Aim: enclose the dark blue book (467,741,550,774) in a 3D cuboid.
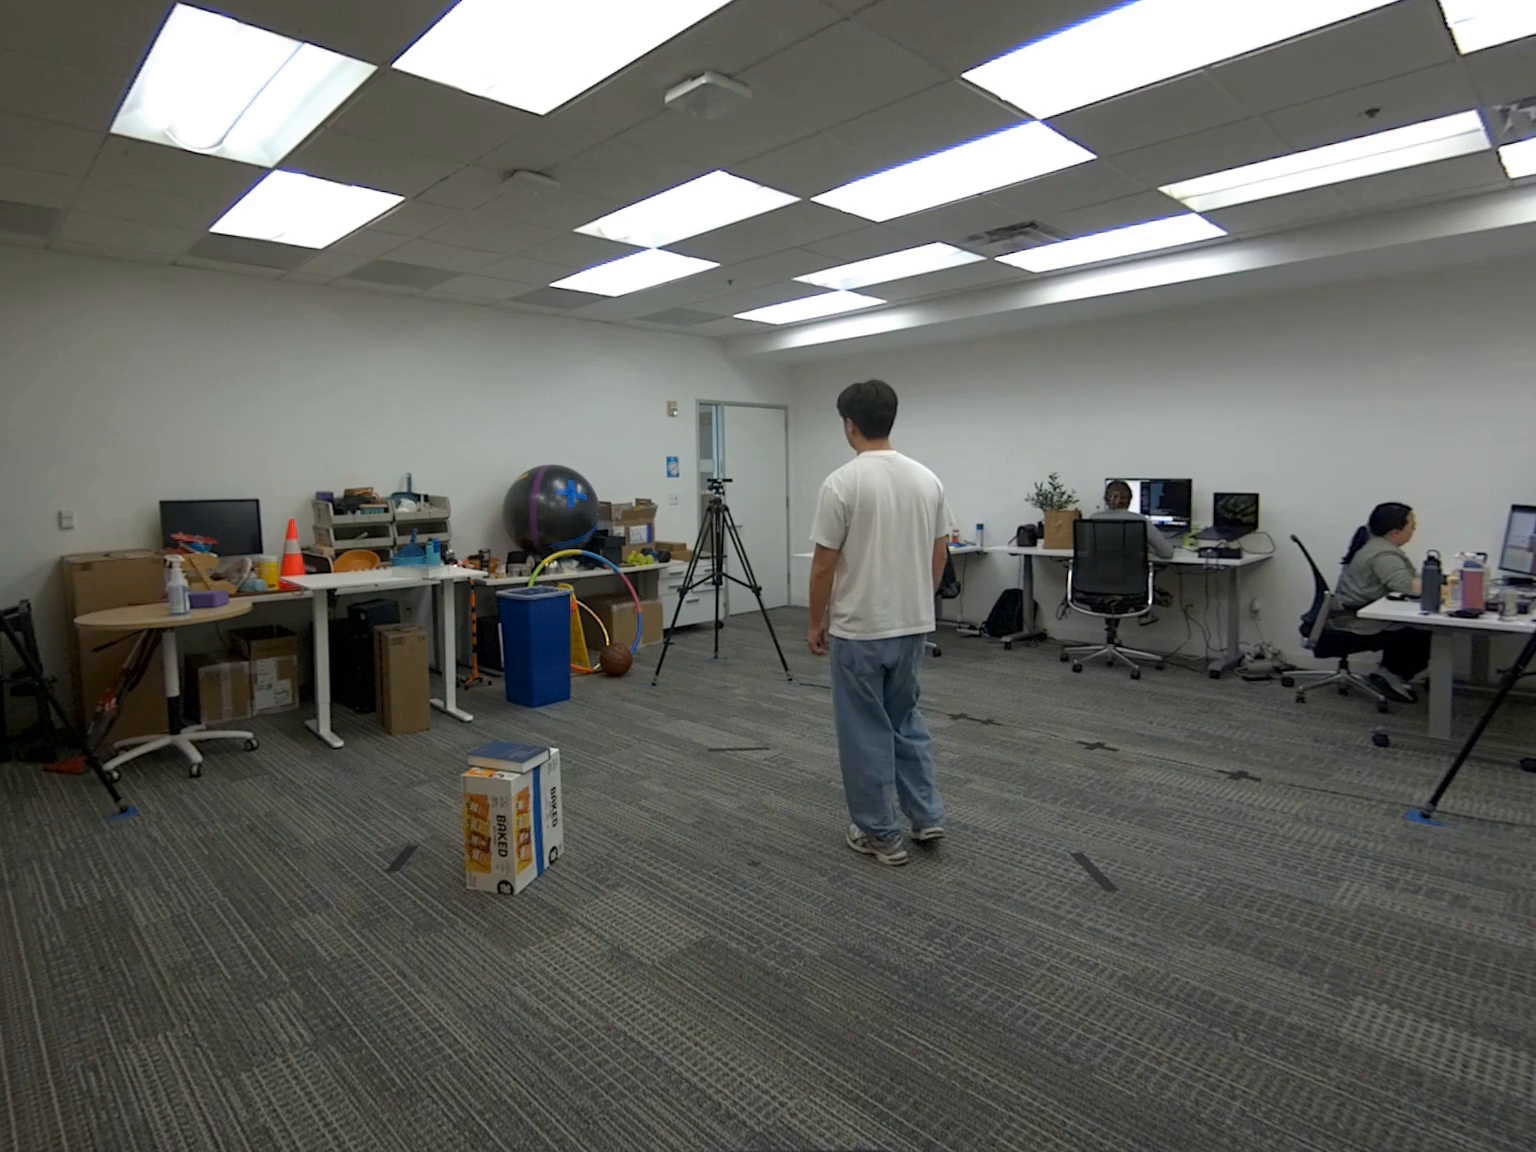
[{"bbox_3d":[-0.926,0.644,3.051,0.250,0.045,0.161,2,7,22],"label":"dark blue book"}]
